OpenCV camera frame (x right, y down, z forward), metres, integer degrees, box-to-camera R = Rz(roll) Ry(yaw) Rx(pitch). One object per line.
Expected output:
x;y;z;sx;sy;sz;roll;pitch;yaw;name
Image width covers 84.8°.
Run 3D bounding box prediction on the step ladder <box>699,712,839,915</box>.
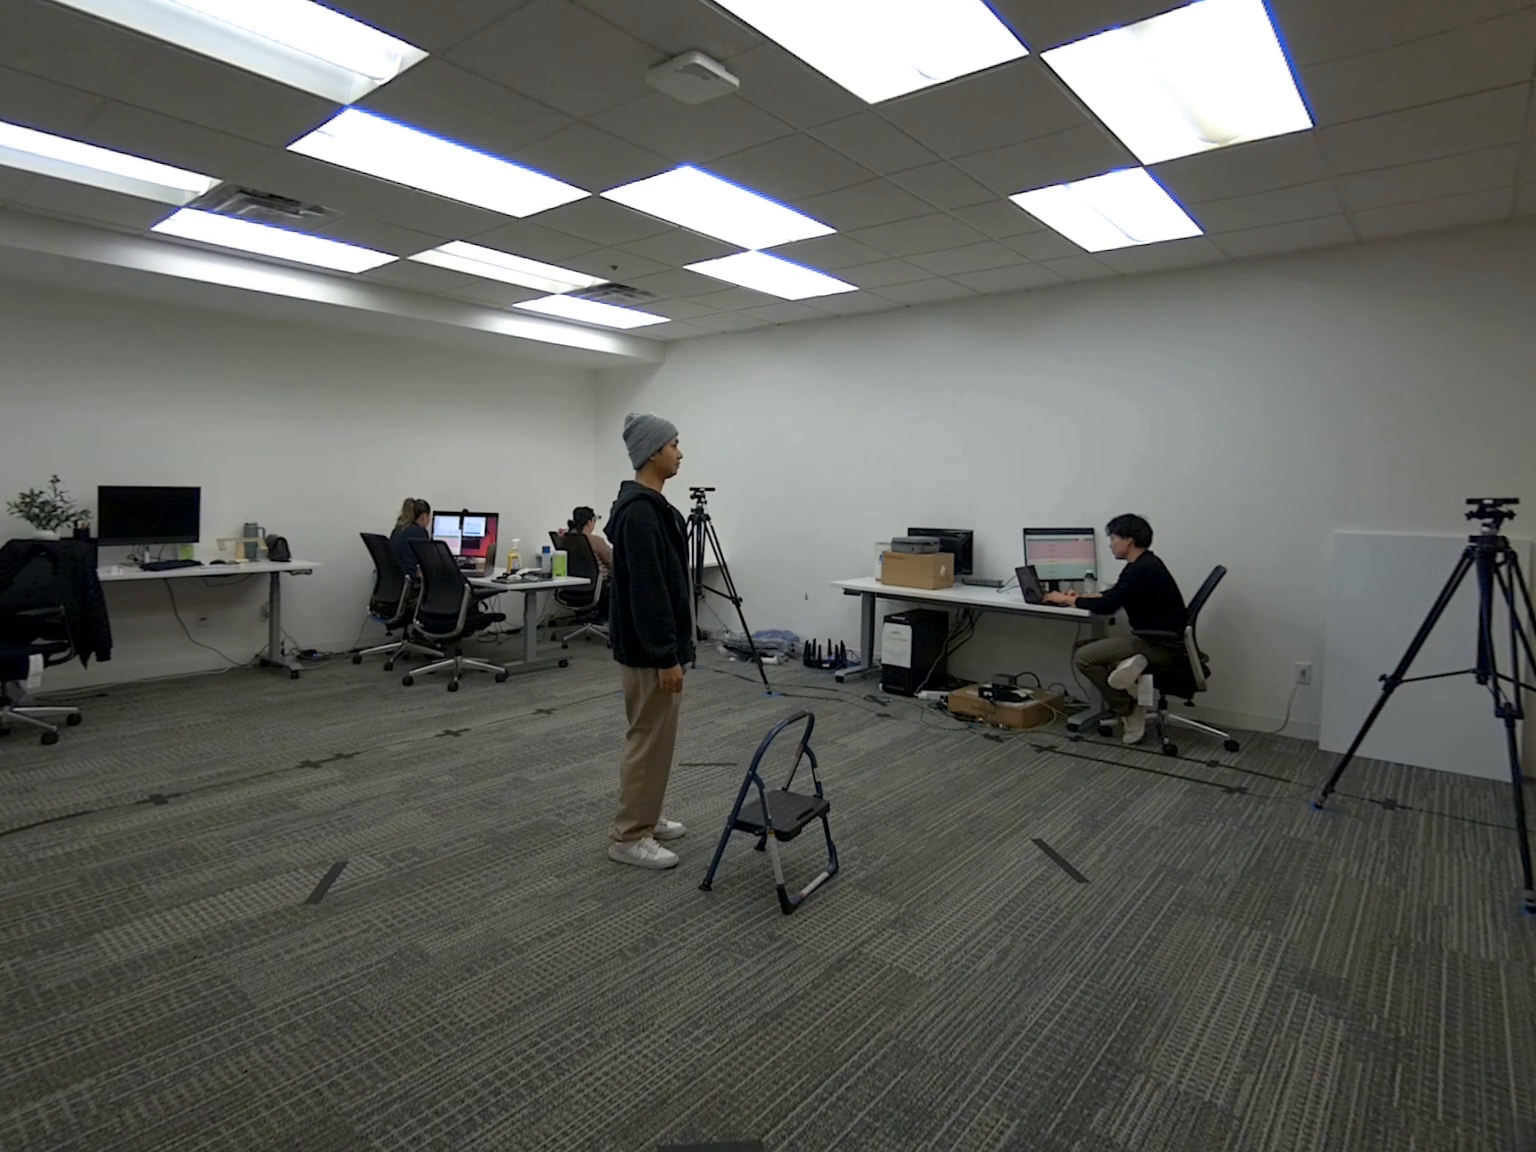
0.014;0.777;3.017;0.359;0.604;0.419;3;4;29;step ladder
